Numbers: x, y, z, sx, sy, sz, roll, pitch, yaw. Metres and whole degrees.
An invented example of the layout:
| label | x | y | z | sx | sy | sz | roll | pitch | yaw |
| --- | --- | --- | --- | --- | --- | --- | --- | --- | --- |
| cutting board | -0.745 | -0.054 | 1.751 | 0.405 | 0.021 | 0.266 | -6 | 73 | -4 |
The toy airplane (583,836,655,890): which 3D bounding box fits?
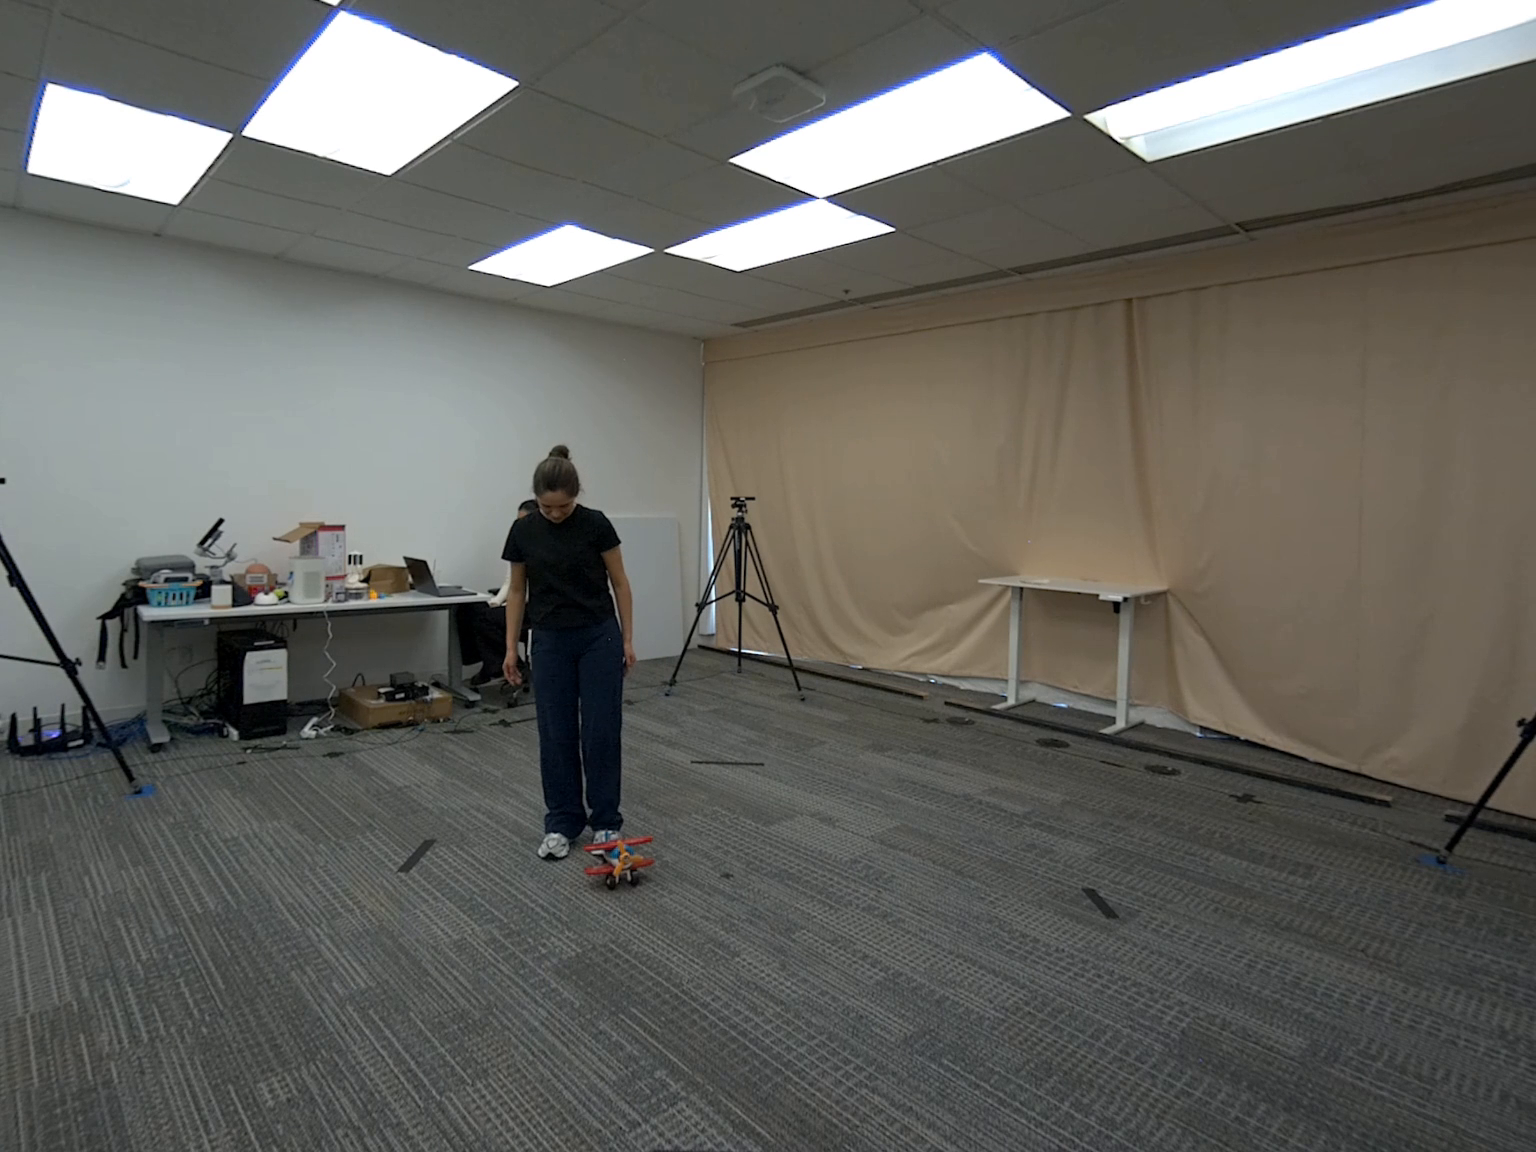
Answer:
| label | x | y | z | sx | sy | sz | roll | pitch | yaw |
| --- | --- | --- | --- | --- | --- | --- | --- | --- | --- |
| toy airplane | -0.573 | 1.028 | 3.046 | 0.266 | 0.156 | 0.246 | 6 | 7 | 36 |
